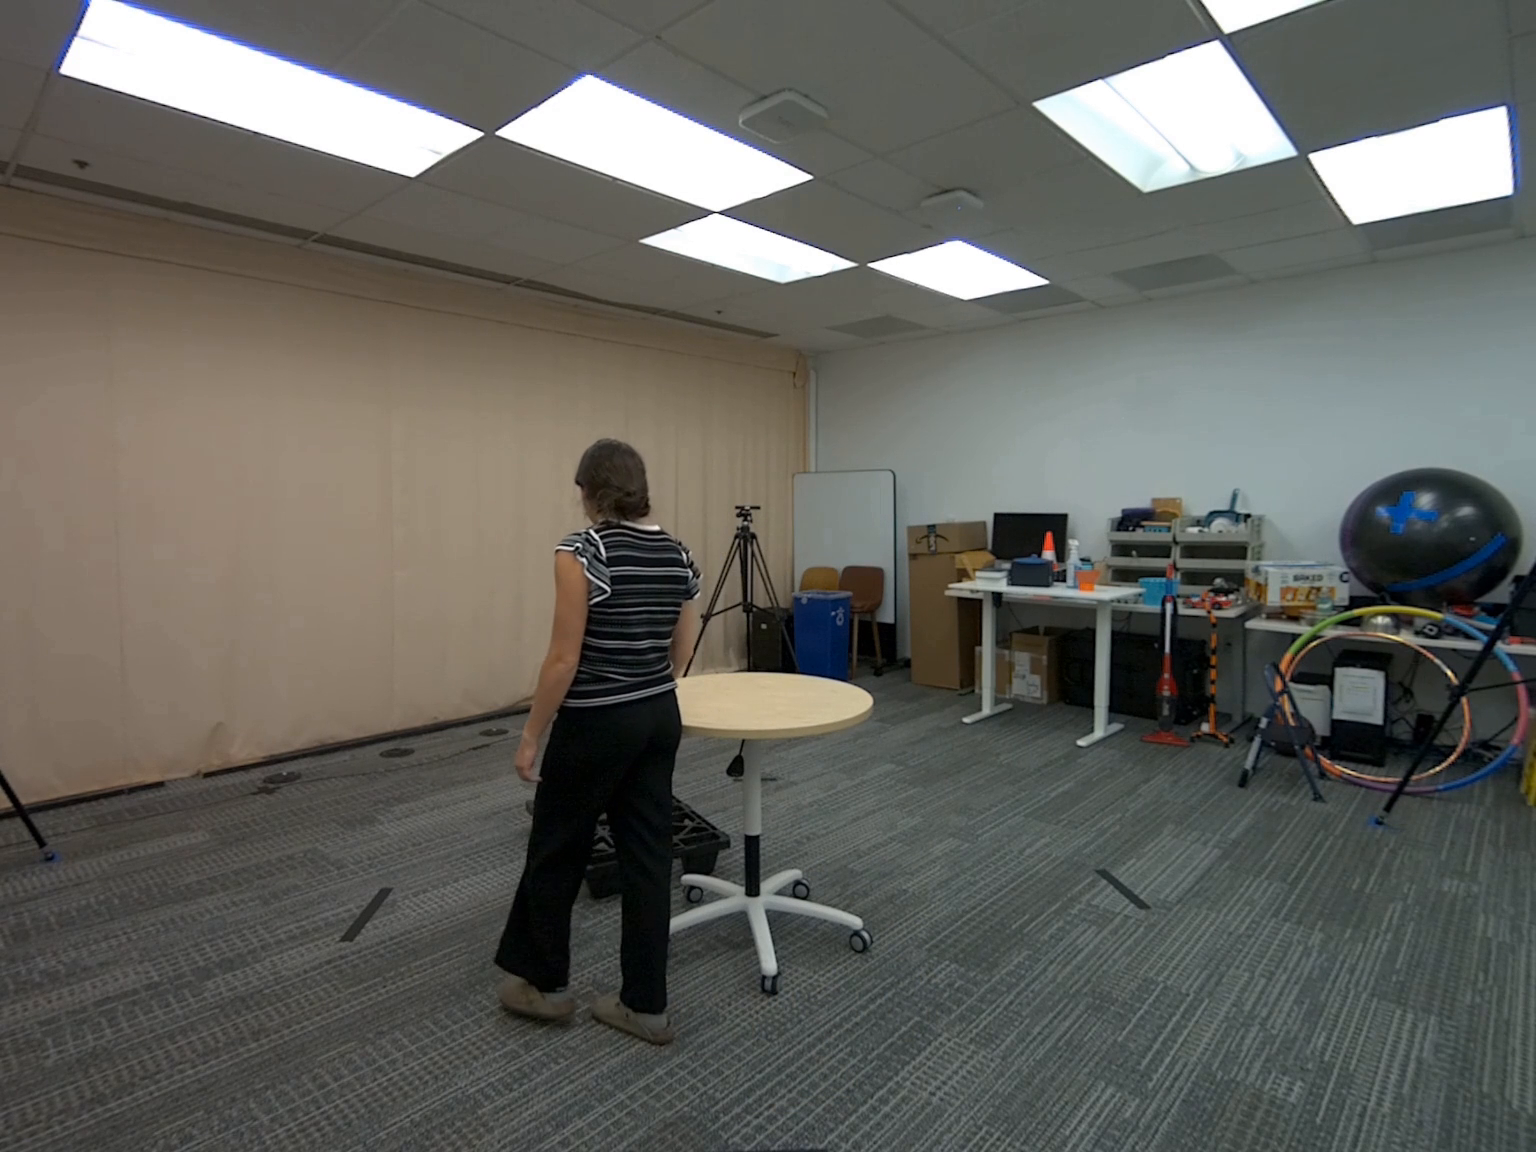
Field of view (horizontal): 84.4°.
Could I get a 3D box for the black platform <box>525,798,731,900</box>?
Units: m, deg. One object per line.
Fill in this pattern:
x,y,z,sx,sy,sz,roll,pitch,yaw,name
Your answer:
-0.589,1.050,3.411,0.590,0.143,0.828,-2,5,-28,black platform
